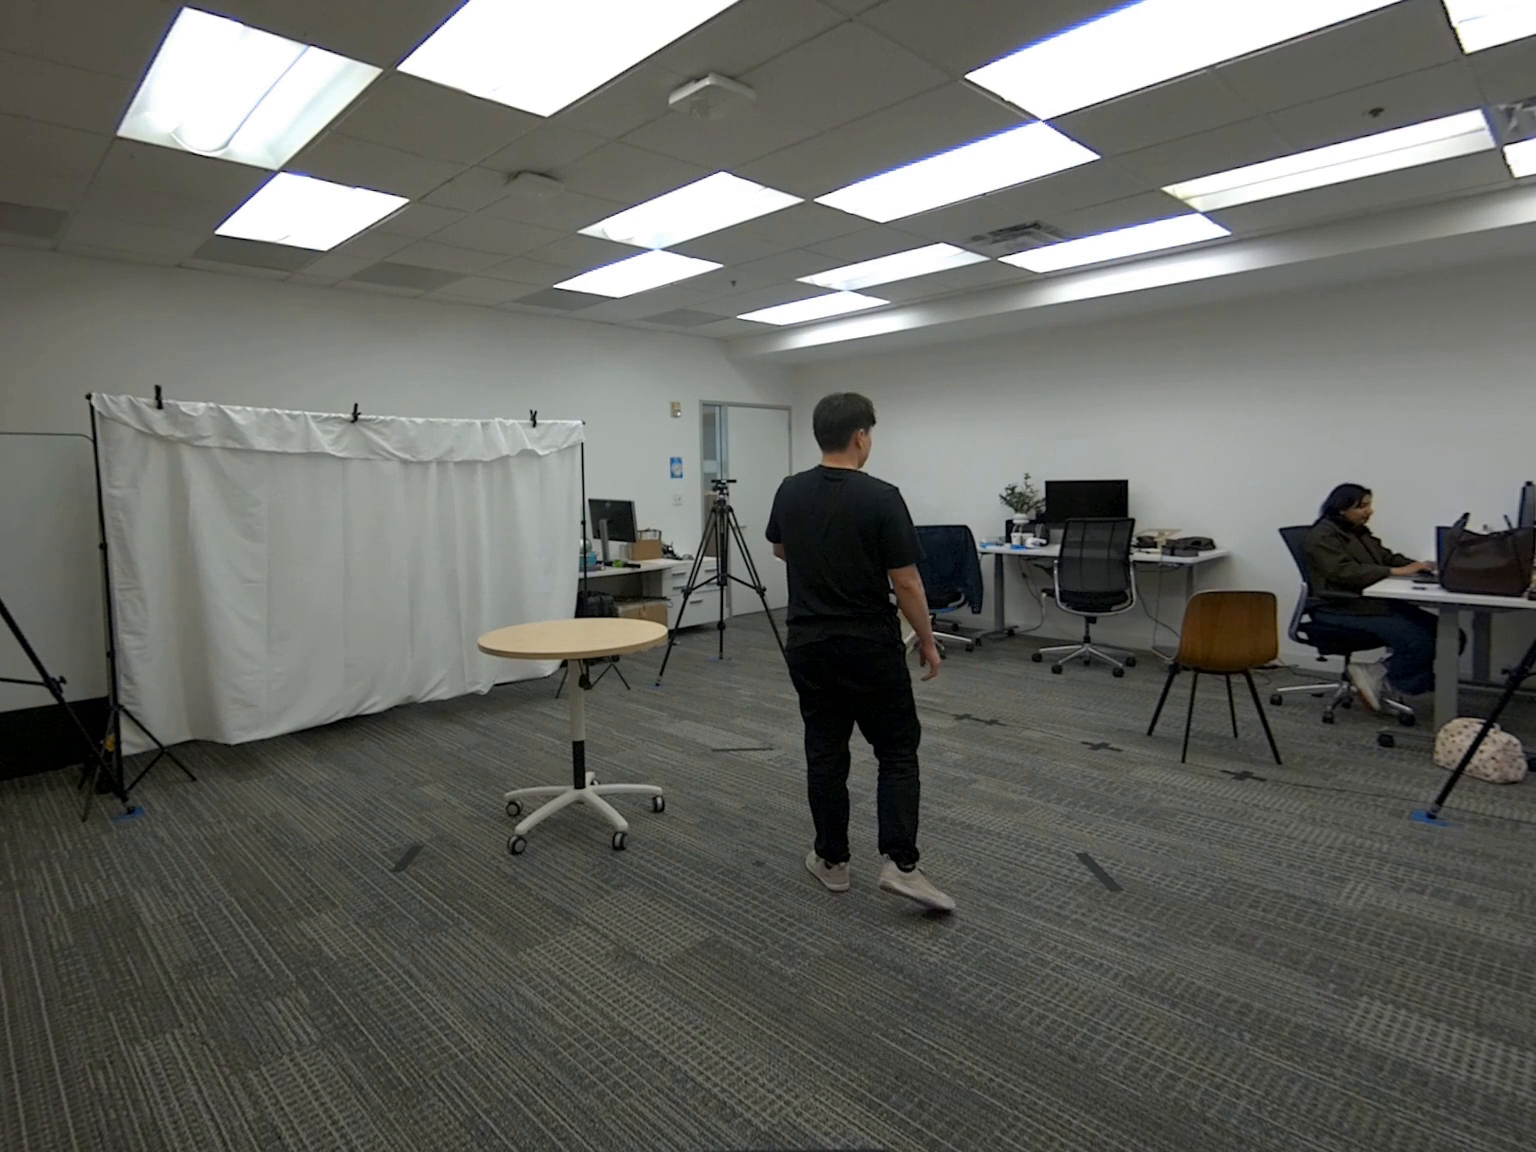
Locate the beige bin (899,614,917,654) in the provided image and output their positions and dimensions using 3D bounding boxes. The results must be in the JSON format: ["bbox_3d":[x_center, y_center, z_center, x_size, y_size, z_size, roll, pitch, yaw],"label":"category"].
[{"bbox_3d":[0.380,0.159,3.356,0.433,0.186,0.374,35,41,20],"label":"beige bin"}]
